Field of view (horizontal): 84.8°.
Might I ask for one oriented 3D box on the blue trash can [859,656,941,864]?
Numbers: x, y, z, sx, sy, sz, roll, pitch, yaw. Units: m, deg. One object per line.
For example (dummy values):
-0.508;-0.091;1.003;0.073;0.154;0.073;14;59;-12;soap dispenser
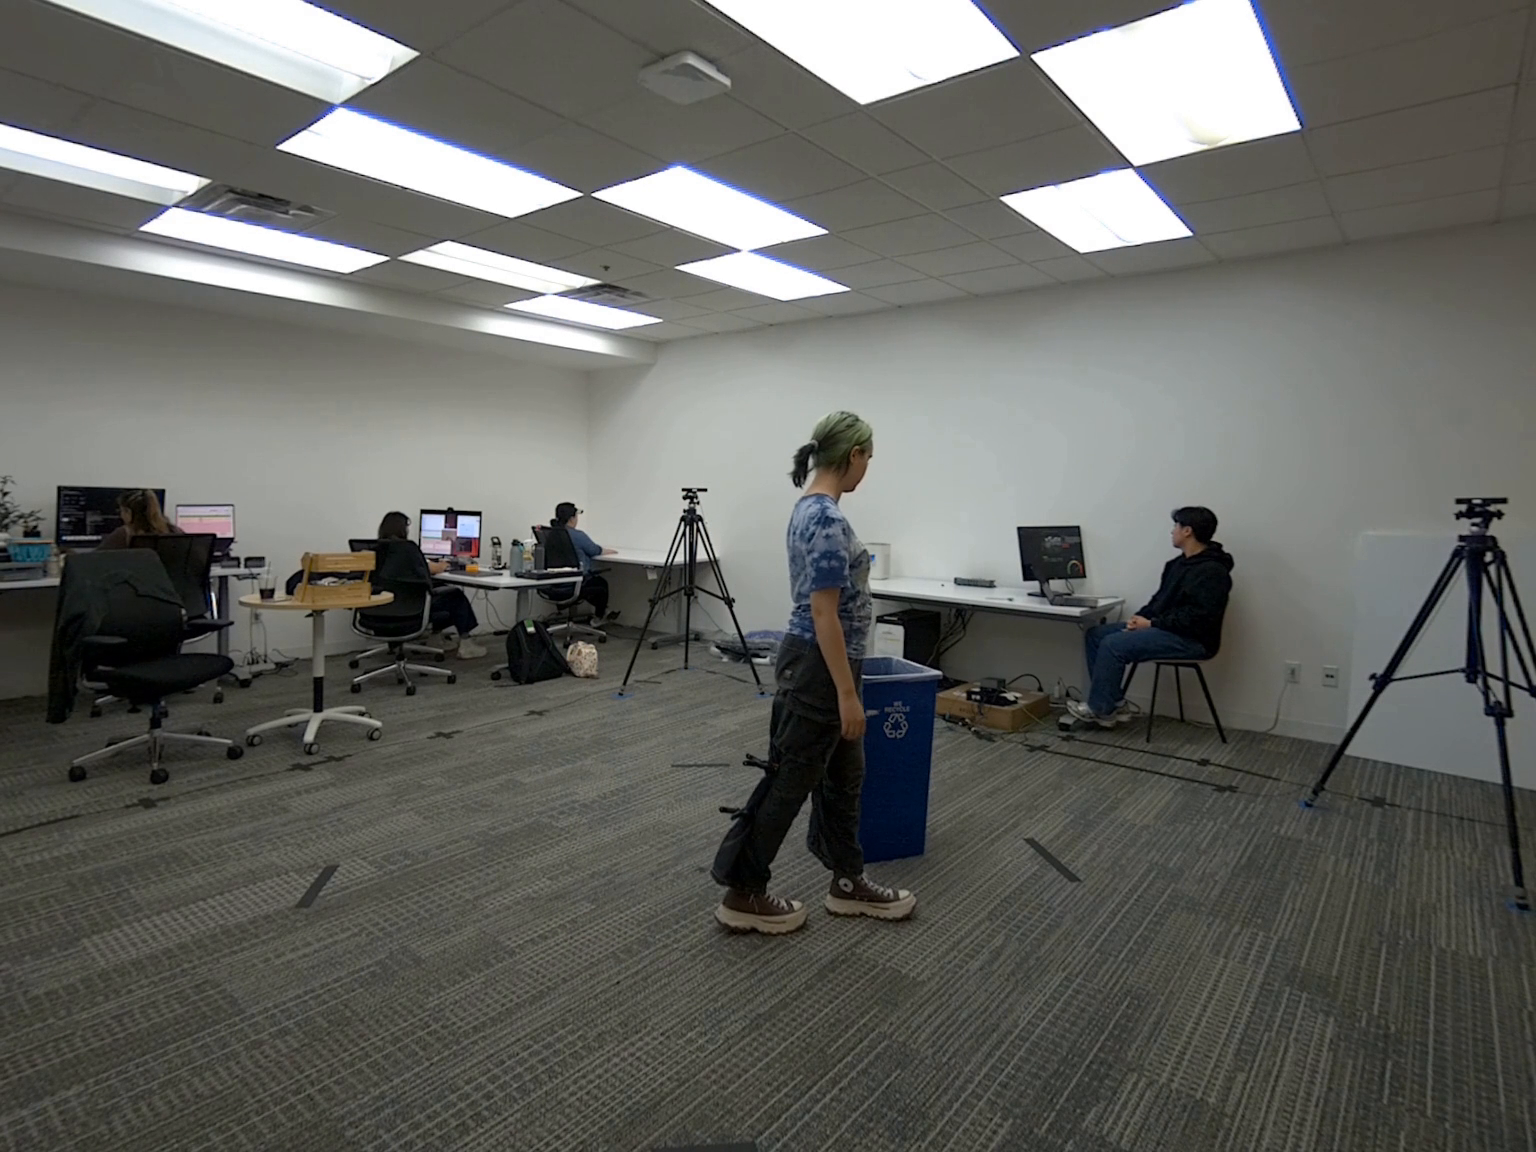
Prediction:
0.421;0.704;3.352;0.366;0.711;0.388;0;4;-23;blue trash can
